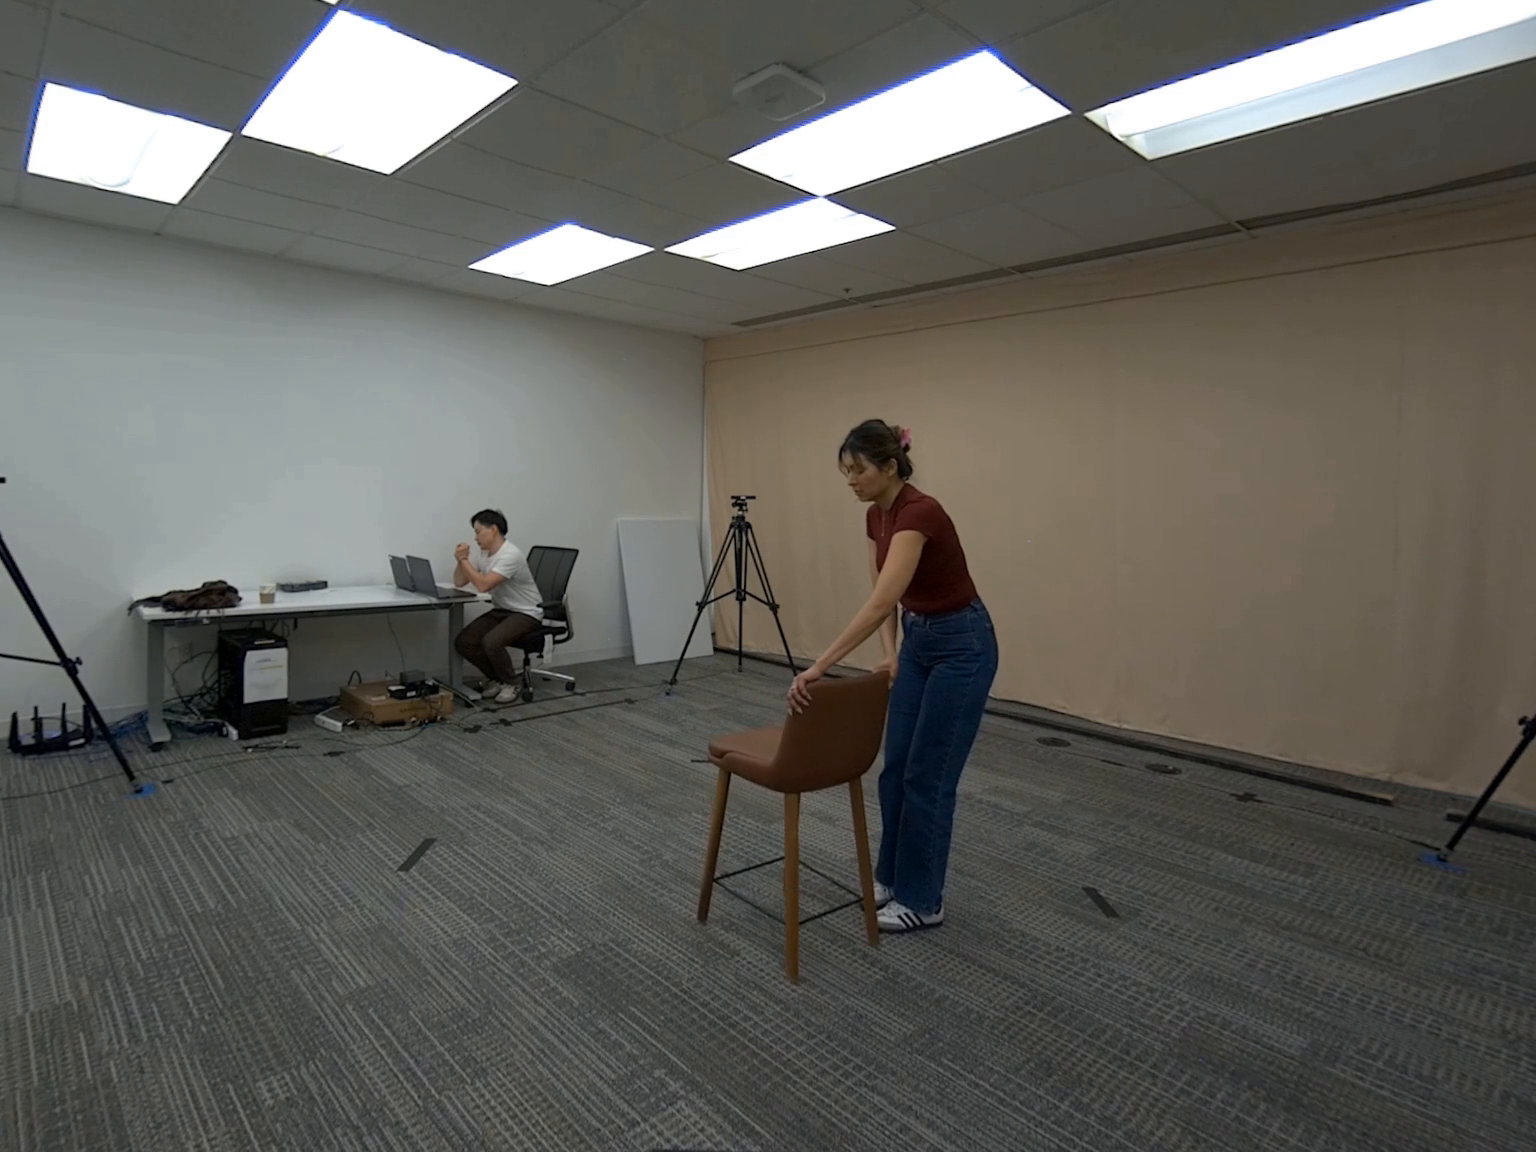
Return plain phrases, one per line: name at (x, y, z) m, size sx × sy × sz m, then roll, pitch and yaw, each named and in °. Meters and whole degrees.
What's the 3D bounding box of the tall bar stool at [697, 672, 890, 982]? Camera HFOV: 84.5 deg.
tall bar stool at (0.083, 0.711, 2.665) m, size 0.446 × 0.887 × 0.480 m, roll -1°, pitch 6°, yaw -39°
